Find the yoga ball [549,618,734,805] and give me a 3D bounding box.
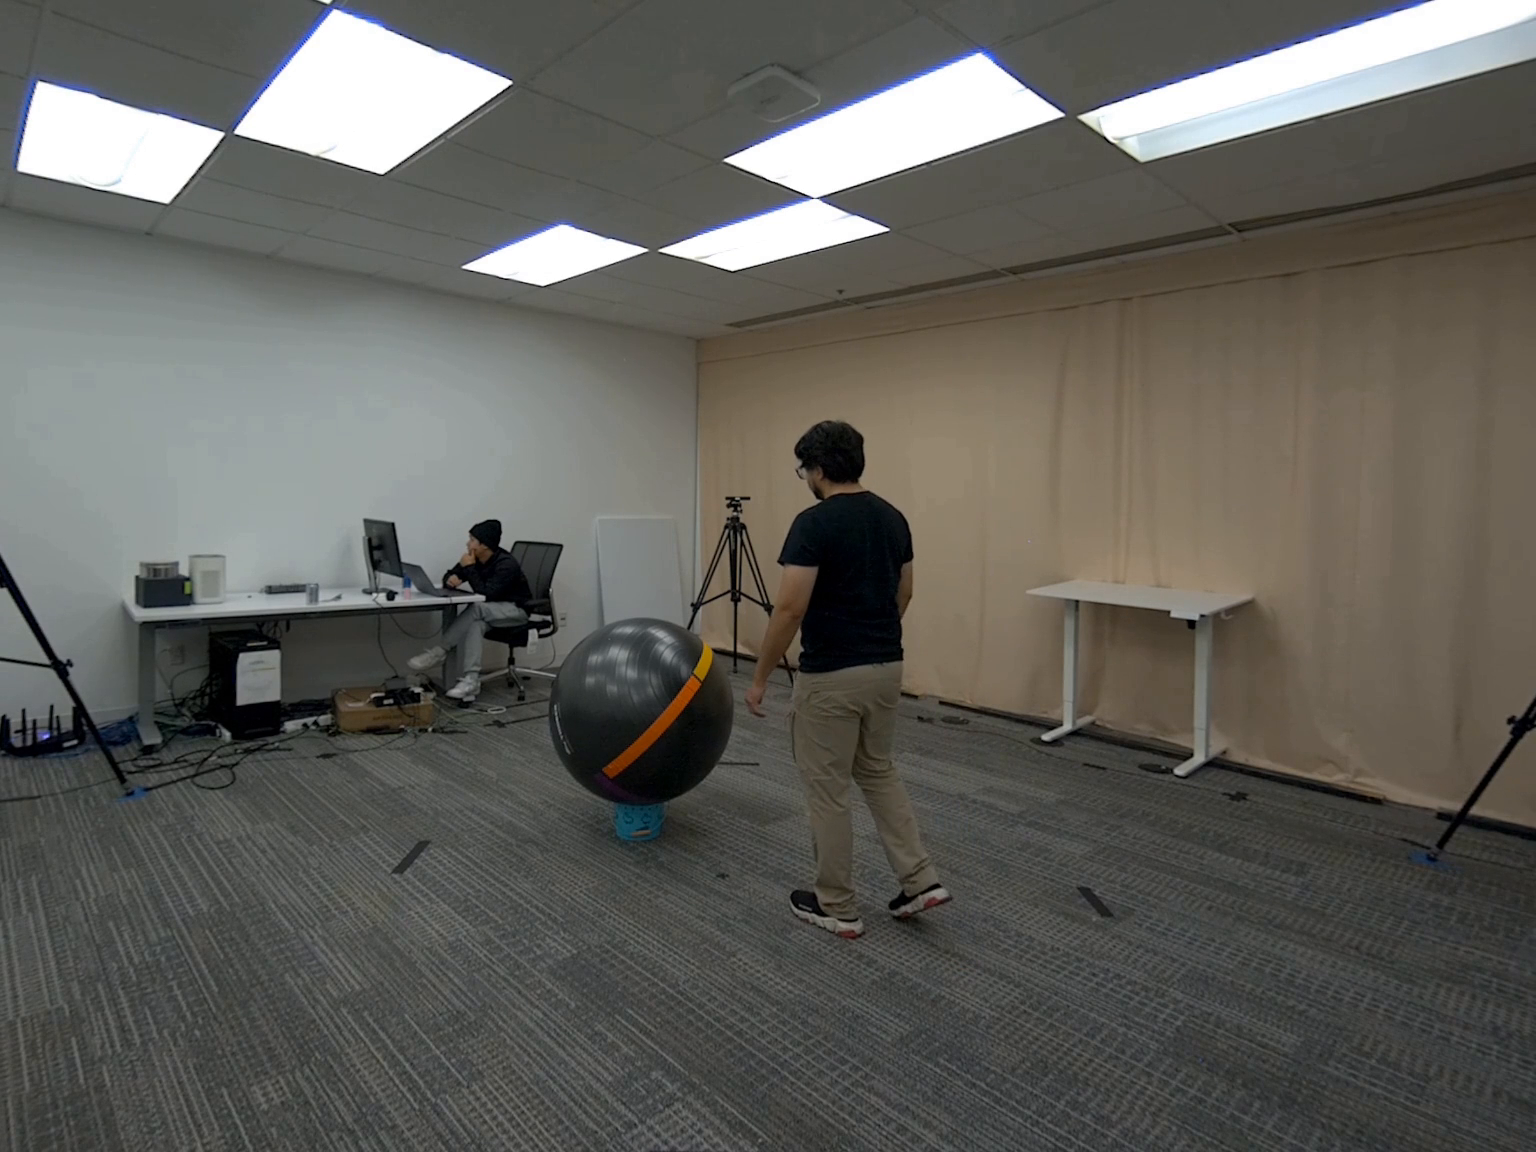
[{"bbox_3d":[-0.525,0.556,3.477,0.757,0.756,0.761,1,4,-1],"label":"yoga ball"}]
